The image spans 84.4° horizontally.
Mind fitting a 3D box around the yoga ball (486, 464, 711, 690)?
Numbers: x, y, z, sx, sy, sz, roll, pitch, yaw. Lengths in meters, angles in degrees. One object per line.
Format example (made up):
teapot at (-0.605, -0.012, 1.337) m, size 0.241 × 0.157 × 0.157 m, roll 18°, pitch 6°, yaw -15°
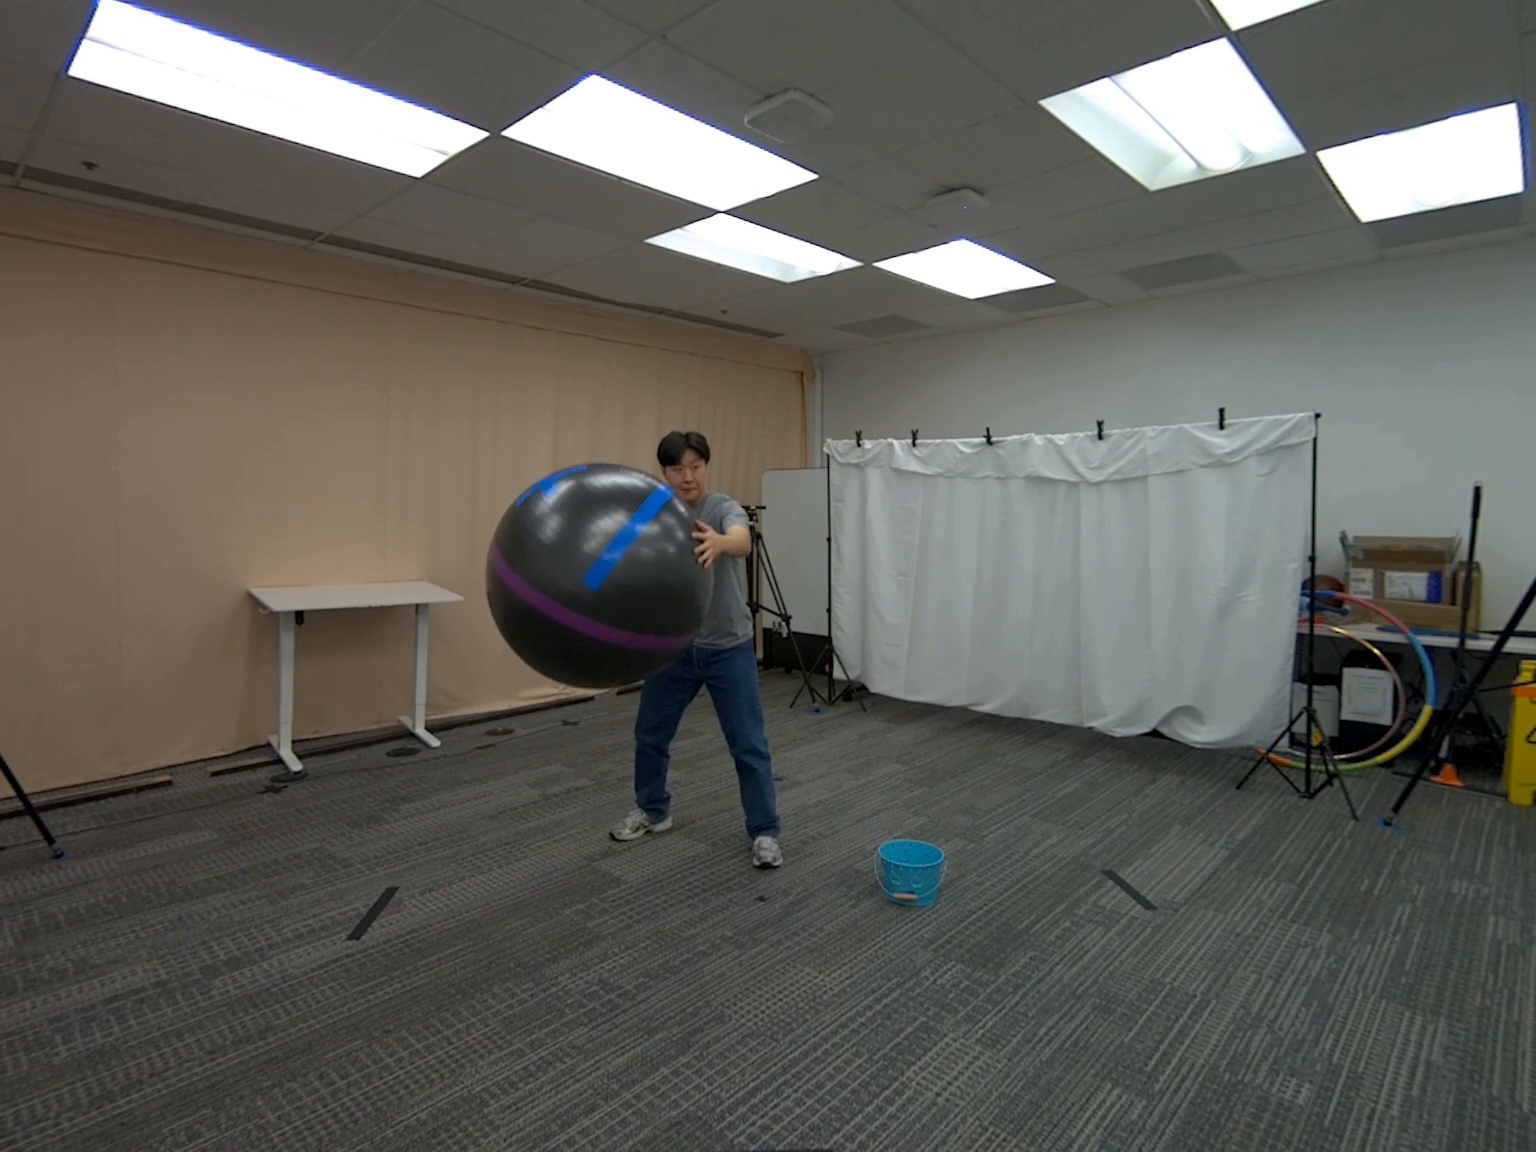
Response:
yoga ball at (-0.576, 0.014, 2.844) m, size 0.757 × 0.756 × 0.760 m, roll 0°, pitch 4°, yaw -2°
